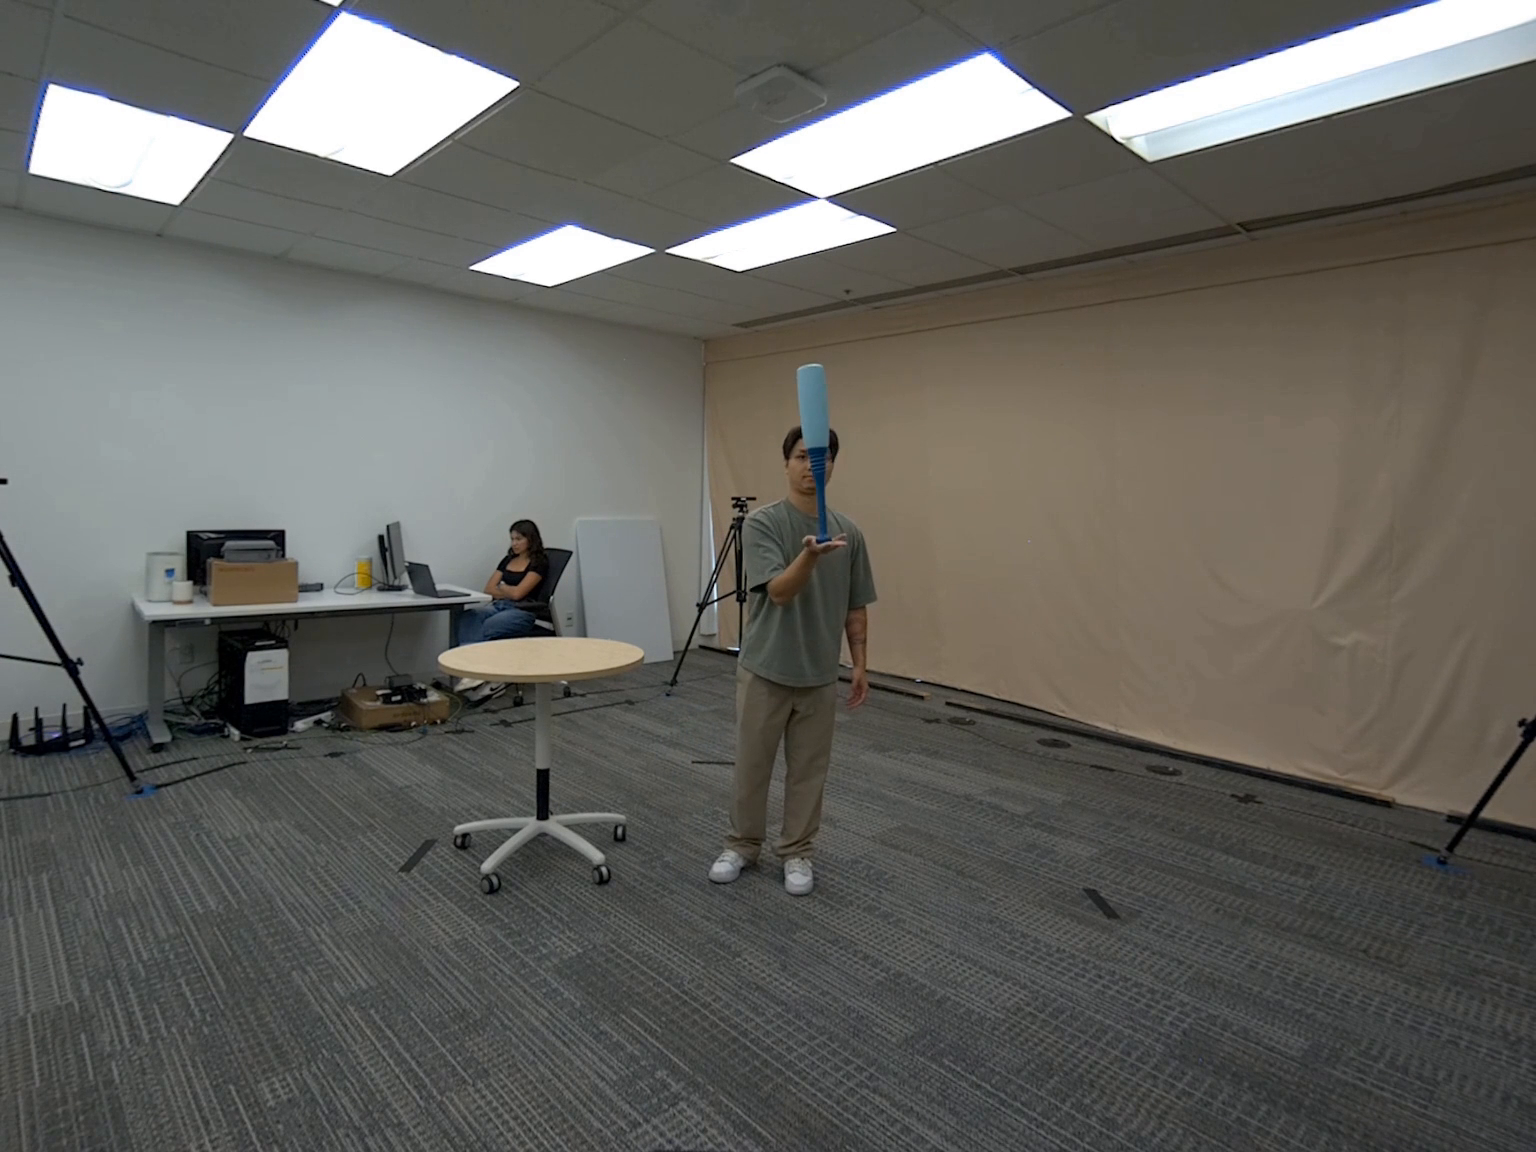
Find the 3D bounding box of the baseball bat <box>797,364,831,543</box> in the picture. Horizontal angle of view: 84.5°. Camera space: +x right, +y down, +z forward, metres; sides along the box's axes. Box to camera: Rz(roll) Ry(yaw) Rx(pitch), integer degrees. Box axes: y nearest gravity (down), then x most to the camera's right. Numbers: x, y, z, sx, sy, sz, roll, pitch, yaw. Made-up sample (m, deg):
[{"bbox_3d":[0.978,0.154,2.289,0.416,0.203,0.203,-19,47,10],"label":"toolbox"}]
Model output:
[{"bbox_3d":[0.139,-0.365,2.555,0.089,0.543,0.089,-5,1,-1],"label":"baseball bat"}]
